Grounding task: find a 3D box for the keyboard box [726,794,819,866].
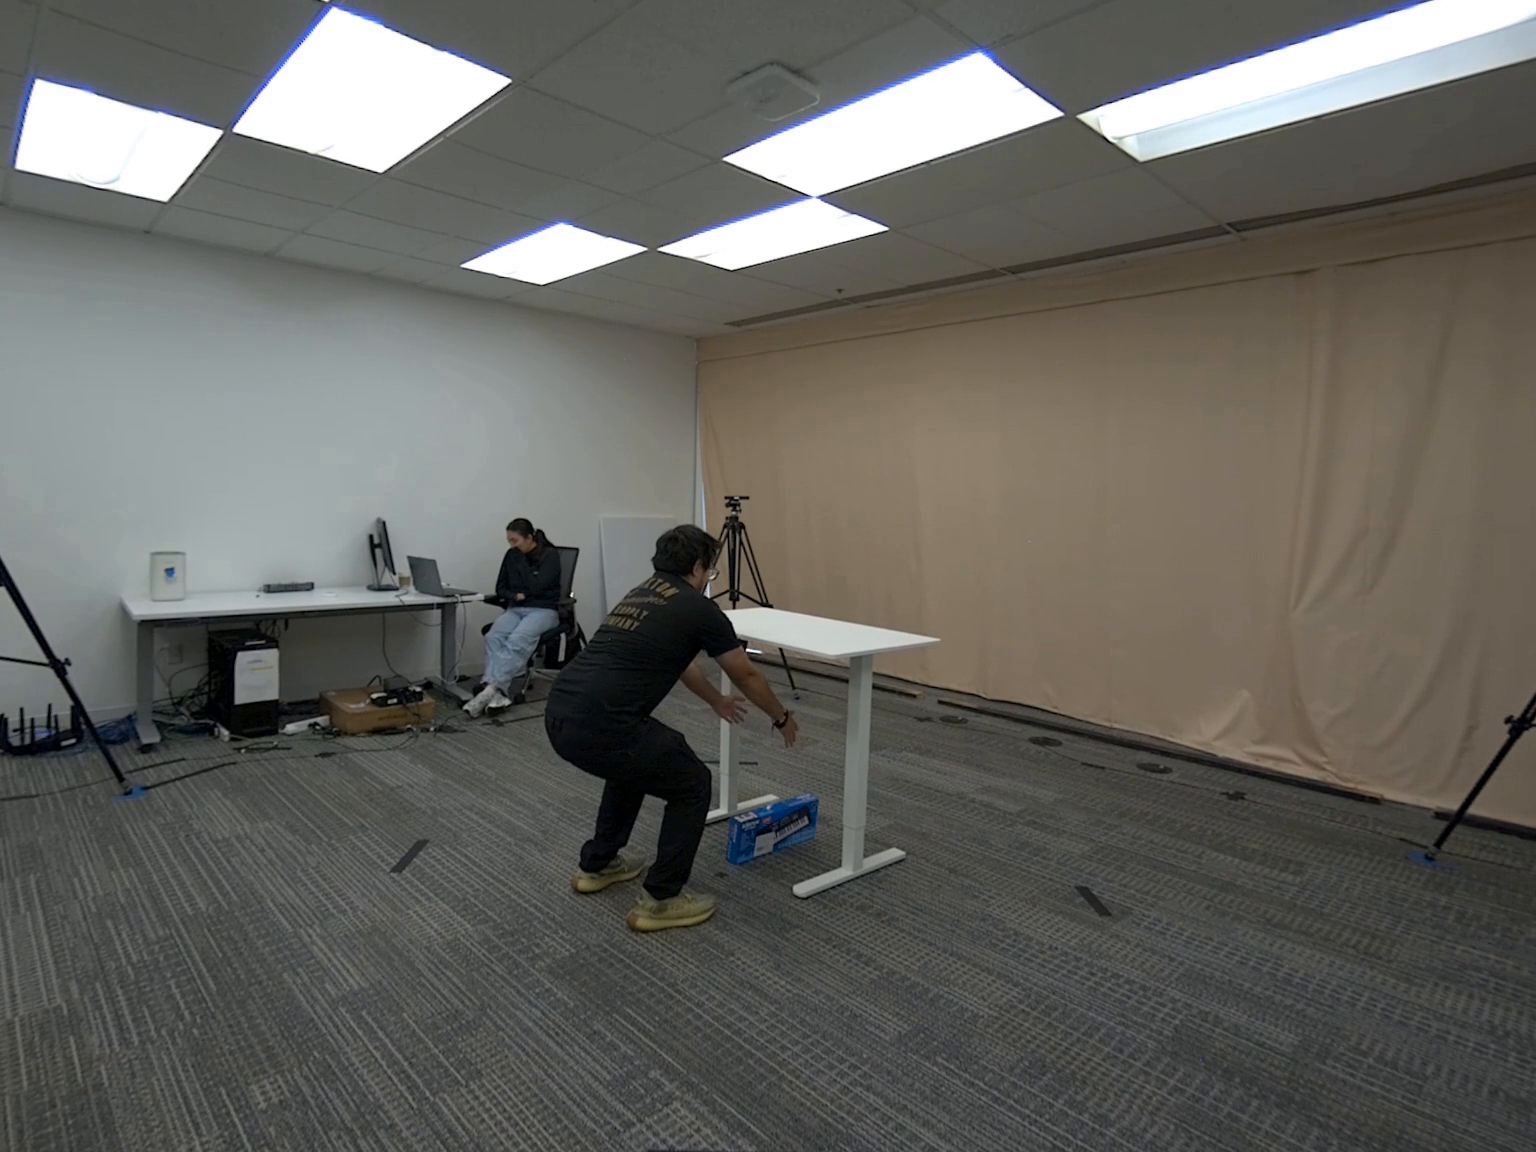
[{"bbox_3d":[0.017,1.001,3.336,0.427,0.175,0.061,-3,11,-42],"label":"keyboard box"}]
